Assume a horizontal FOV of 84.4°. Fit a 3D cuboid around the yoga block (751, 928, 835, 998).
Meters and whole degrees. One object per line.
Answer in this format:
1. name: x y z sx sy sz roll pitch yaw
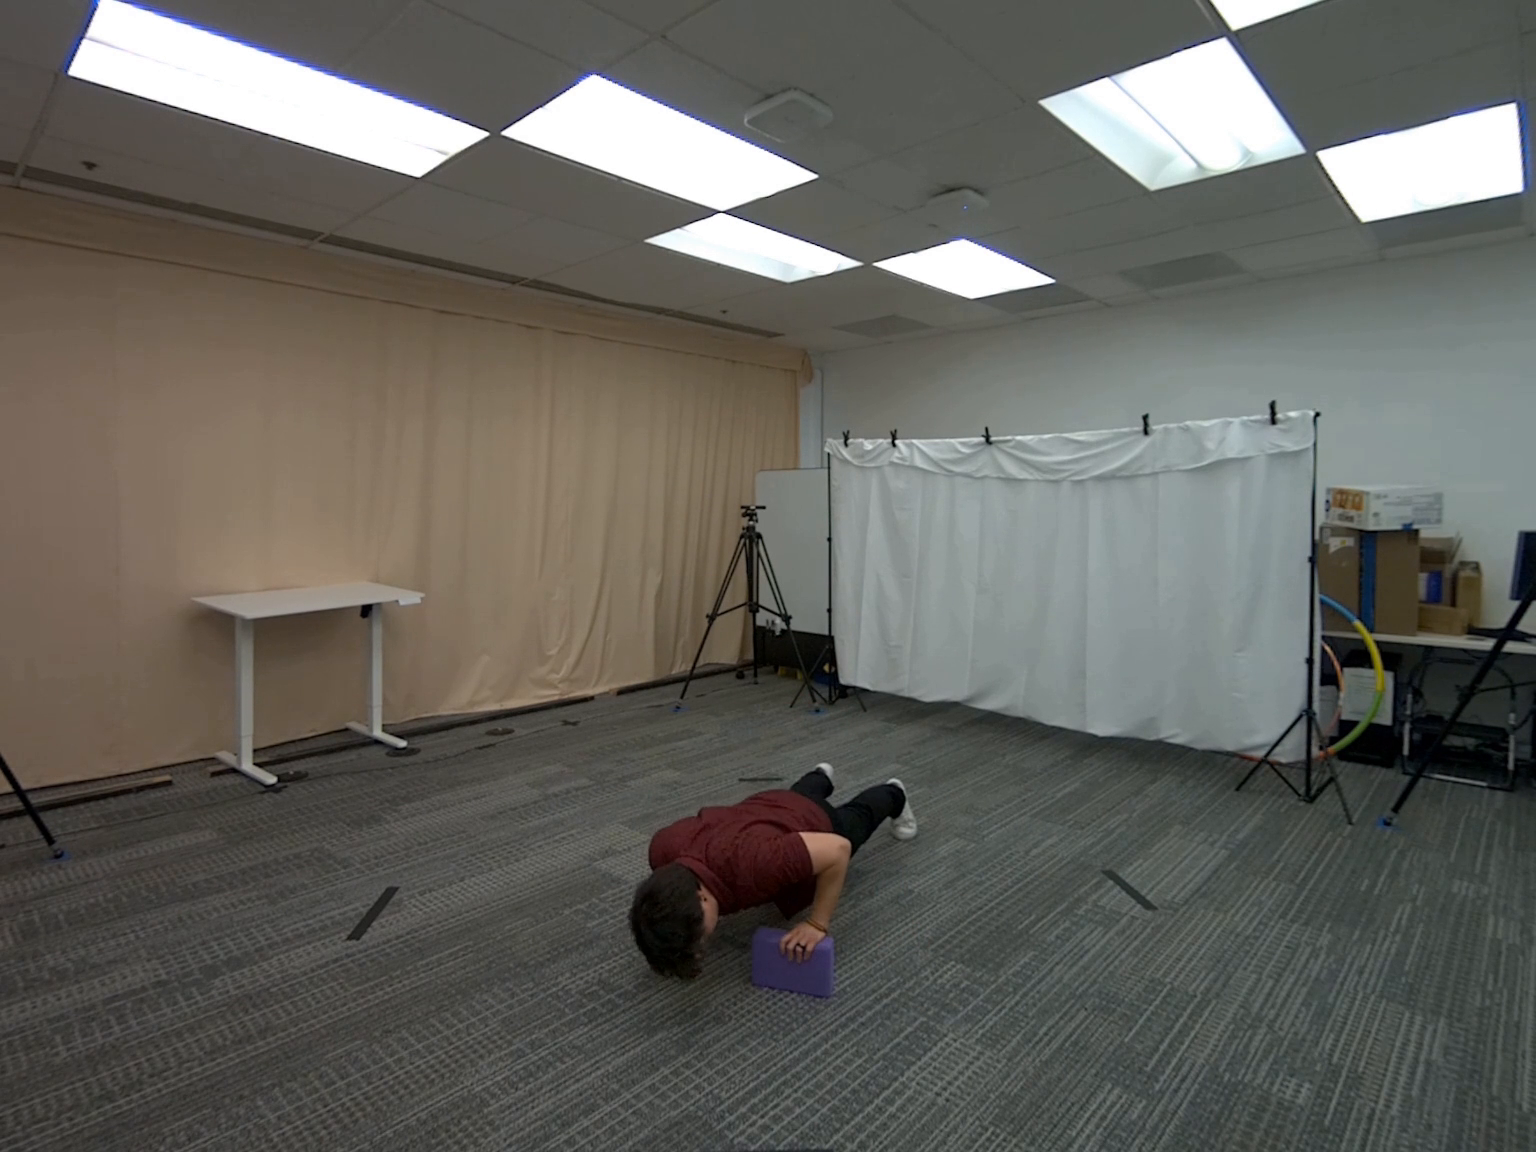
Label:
1. yoga block: 0.073 1.105 2.446 0.233 0.149 0.075 0 1 16
